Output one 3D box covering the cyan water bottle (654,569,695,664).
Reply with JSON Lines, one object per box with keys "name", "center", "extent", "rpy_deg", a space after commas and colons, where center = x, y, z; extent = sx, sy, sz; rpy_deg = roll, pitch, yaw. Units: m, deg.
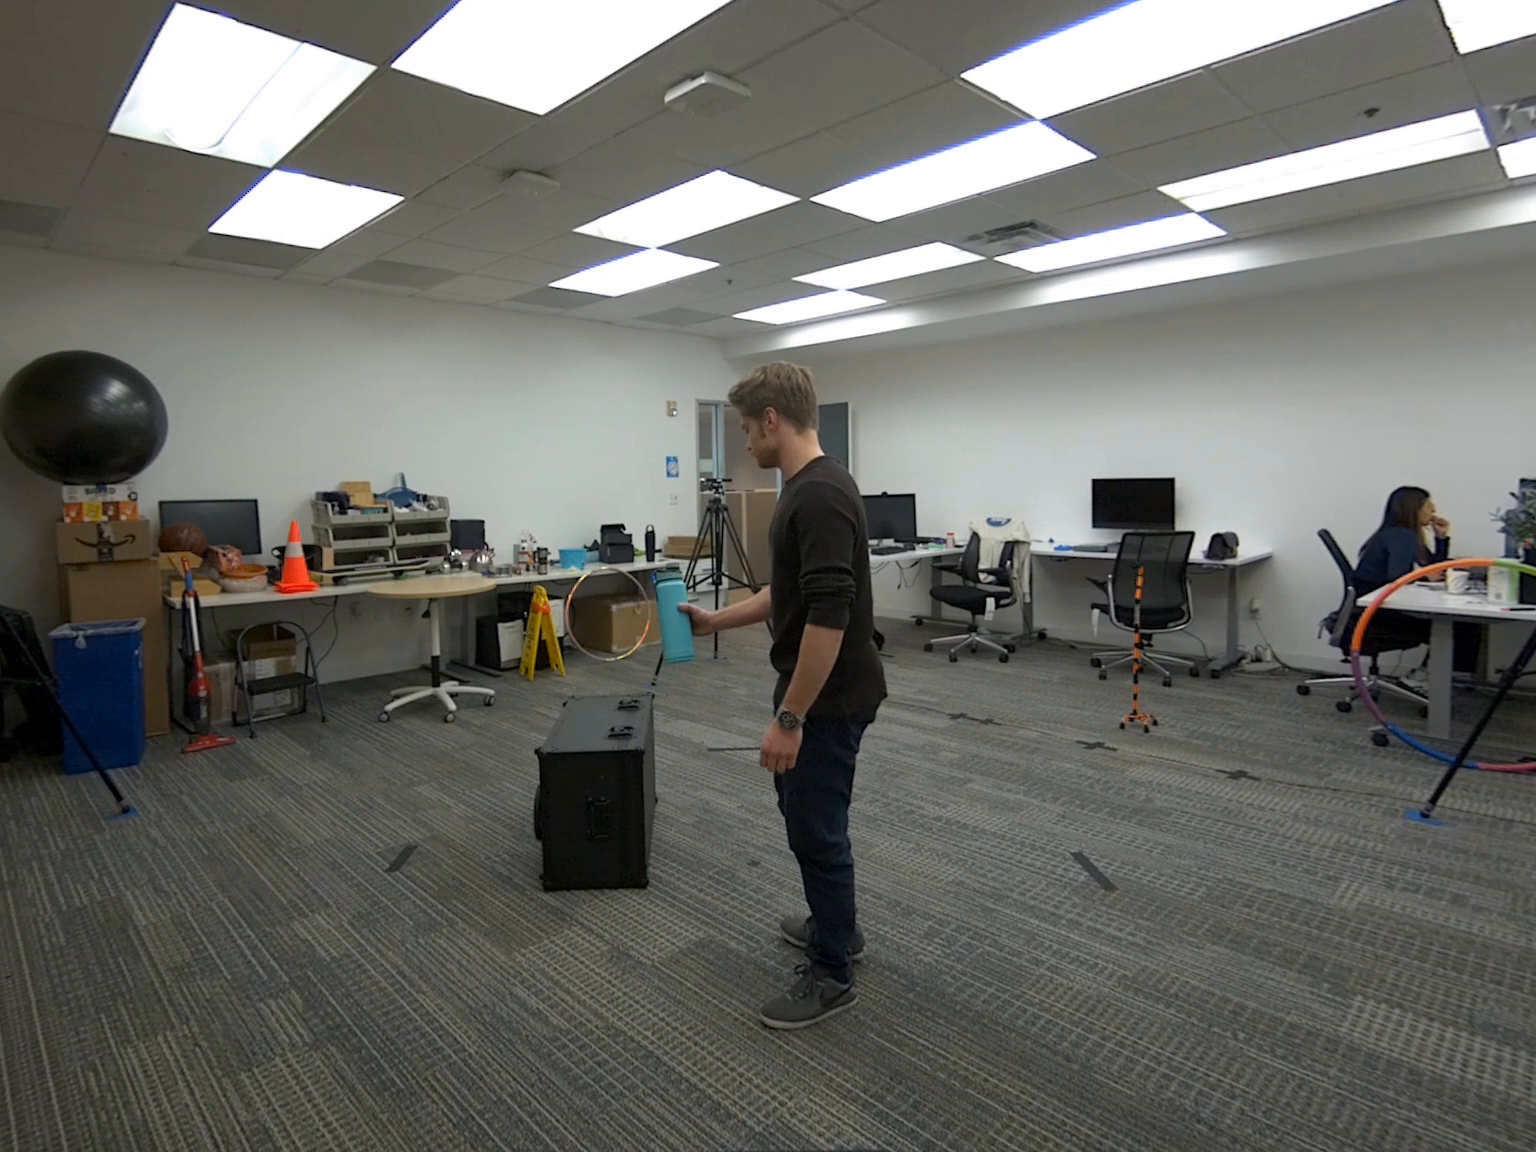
{"name": "cyan water bottle", "center": [-0.264, 0.104, 2.434], "extent": [0.092, 0.286, 0.091], "rpy_deg": [-10, -8, -3]}
